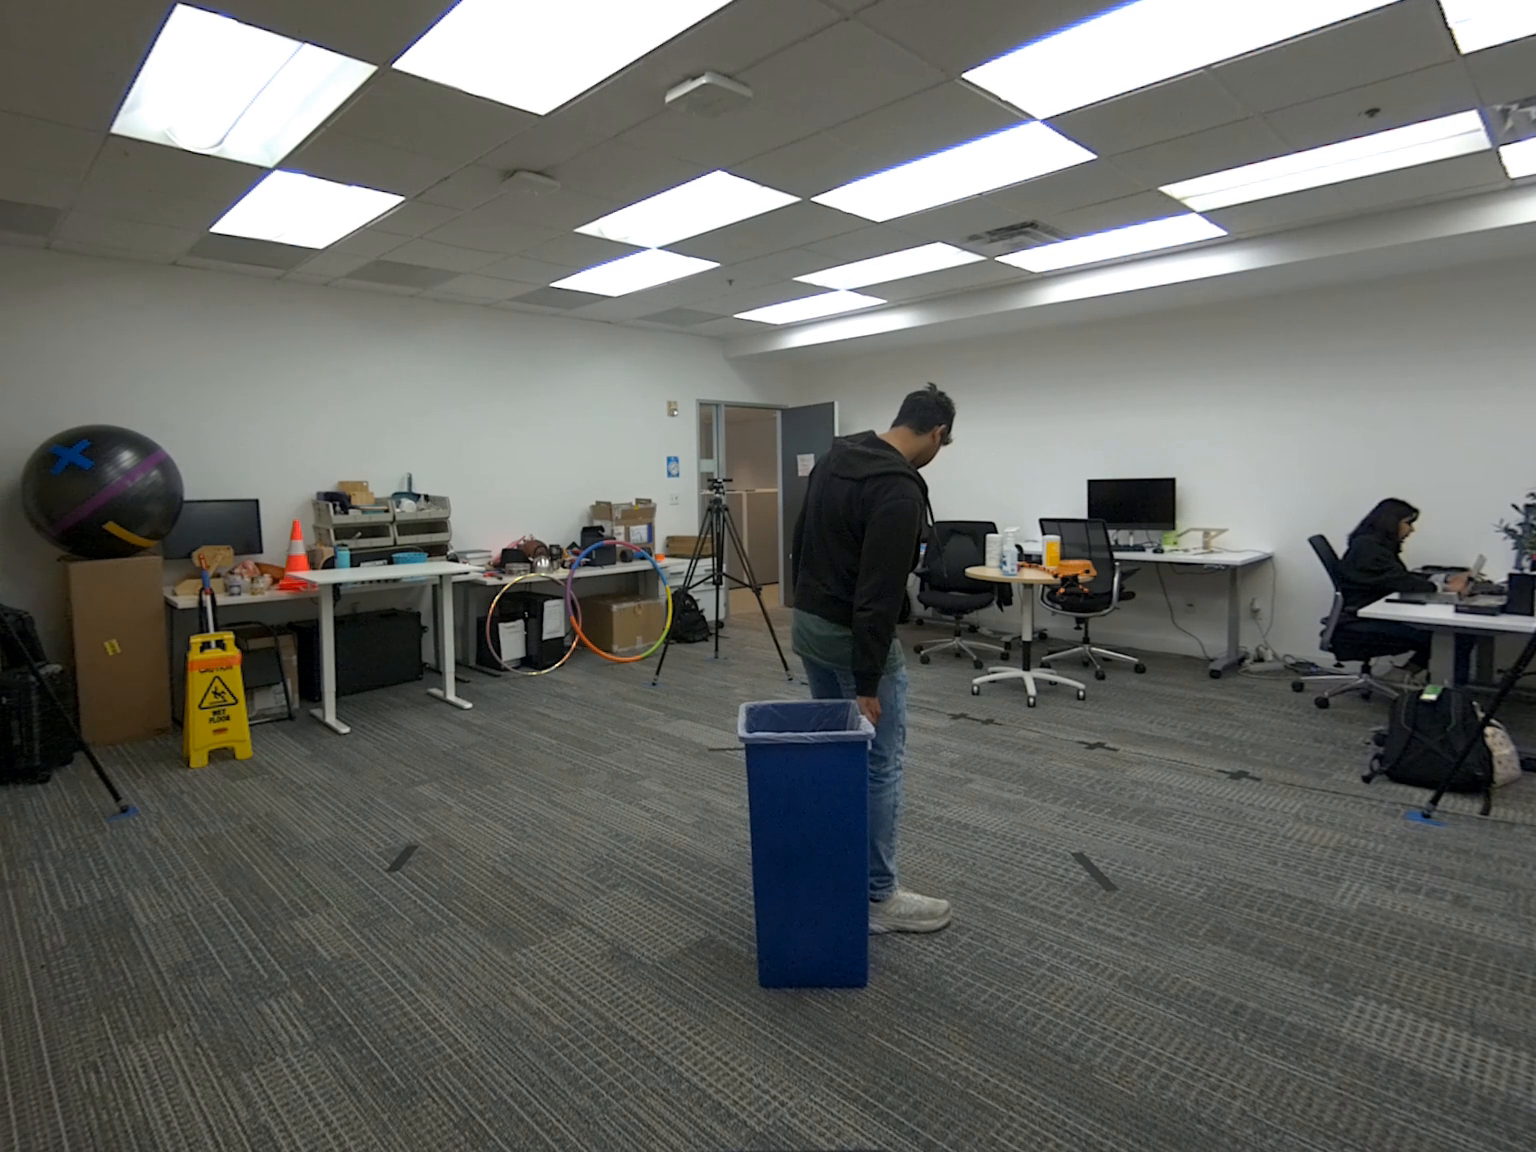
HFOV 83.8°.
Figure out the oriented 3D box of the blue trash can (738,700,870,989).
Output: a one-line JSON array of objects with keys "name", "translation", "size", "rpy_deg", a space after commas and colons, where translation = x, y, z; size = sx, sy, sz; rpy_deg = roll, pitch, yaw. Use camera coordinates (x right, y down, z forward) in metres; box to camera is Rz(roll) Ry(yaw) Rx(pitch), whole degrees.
[{"name": "blue trash can", "translation": [0.112, 0.755, 2.477], "size": [0.378, 0.711, 0.375], "rpy_deg": [-2, 4, 1]}]
